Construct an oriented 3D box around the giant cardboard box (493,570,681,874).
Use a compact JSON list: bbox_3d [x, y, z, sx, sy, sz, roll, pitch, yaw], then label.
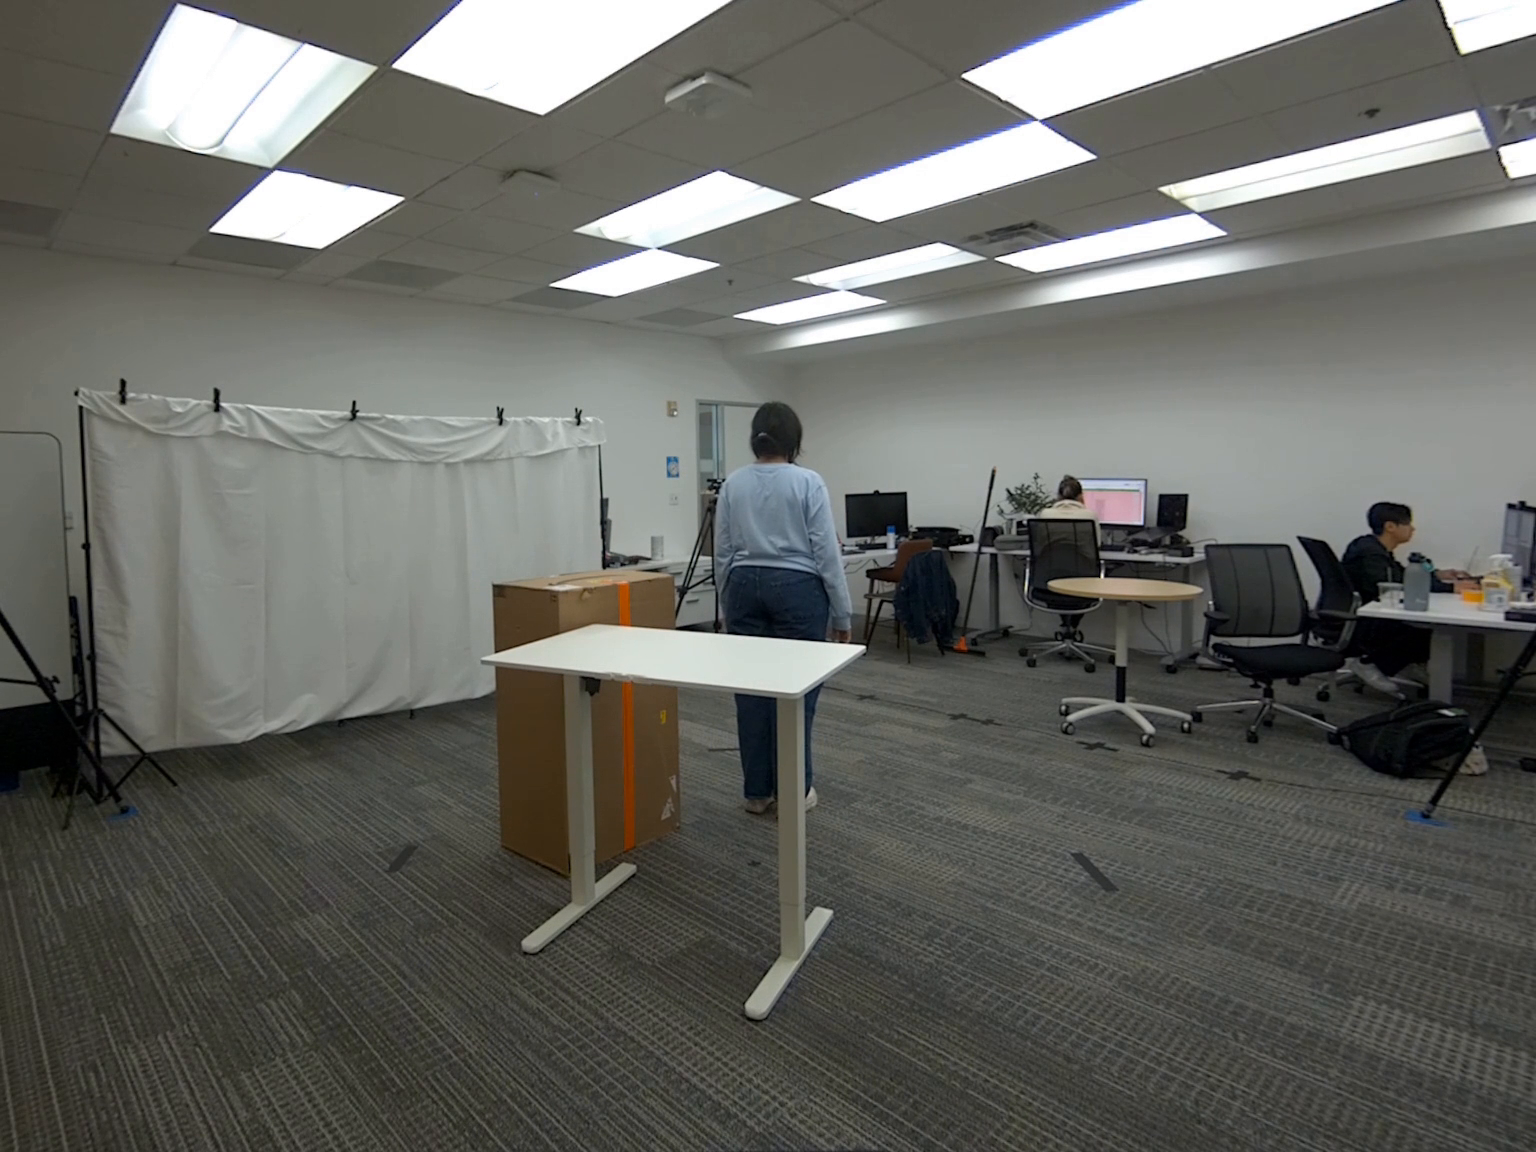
[{"bbox_3d":[-0.699,0.523,3.342,0.439,1.022,0.562,2,5,40],"label":"giant cardboard box"}]
